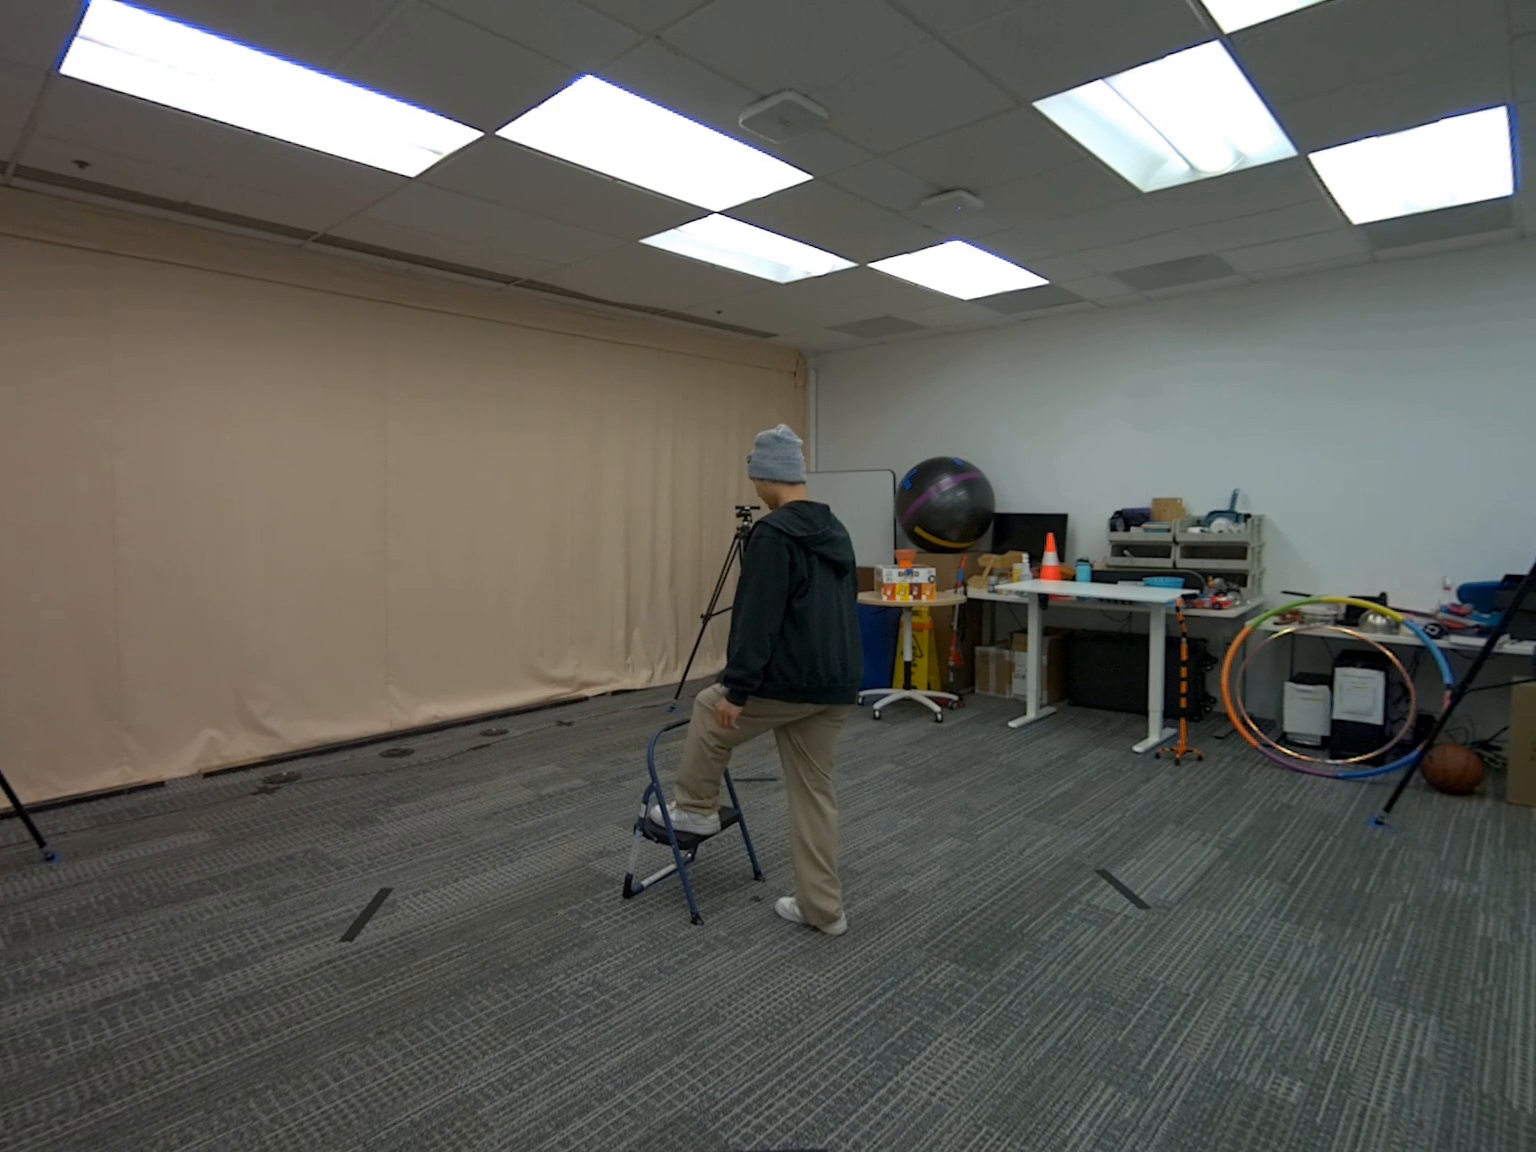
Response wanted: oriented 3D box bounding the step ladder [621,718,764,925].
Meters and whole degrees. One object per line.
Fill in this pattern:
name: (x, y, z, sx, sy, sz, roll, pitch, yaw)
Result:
step ladder: (-0.269, 0.837, 3.054, 0.360, 0.605, 0.419, 1, 4, 33)
